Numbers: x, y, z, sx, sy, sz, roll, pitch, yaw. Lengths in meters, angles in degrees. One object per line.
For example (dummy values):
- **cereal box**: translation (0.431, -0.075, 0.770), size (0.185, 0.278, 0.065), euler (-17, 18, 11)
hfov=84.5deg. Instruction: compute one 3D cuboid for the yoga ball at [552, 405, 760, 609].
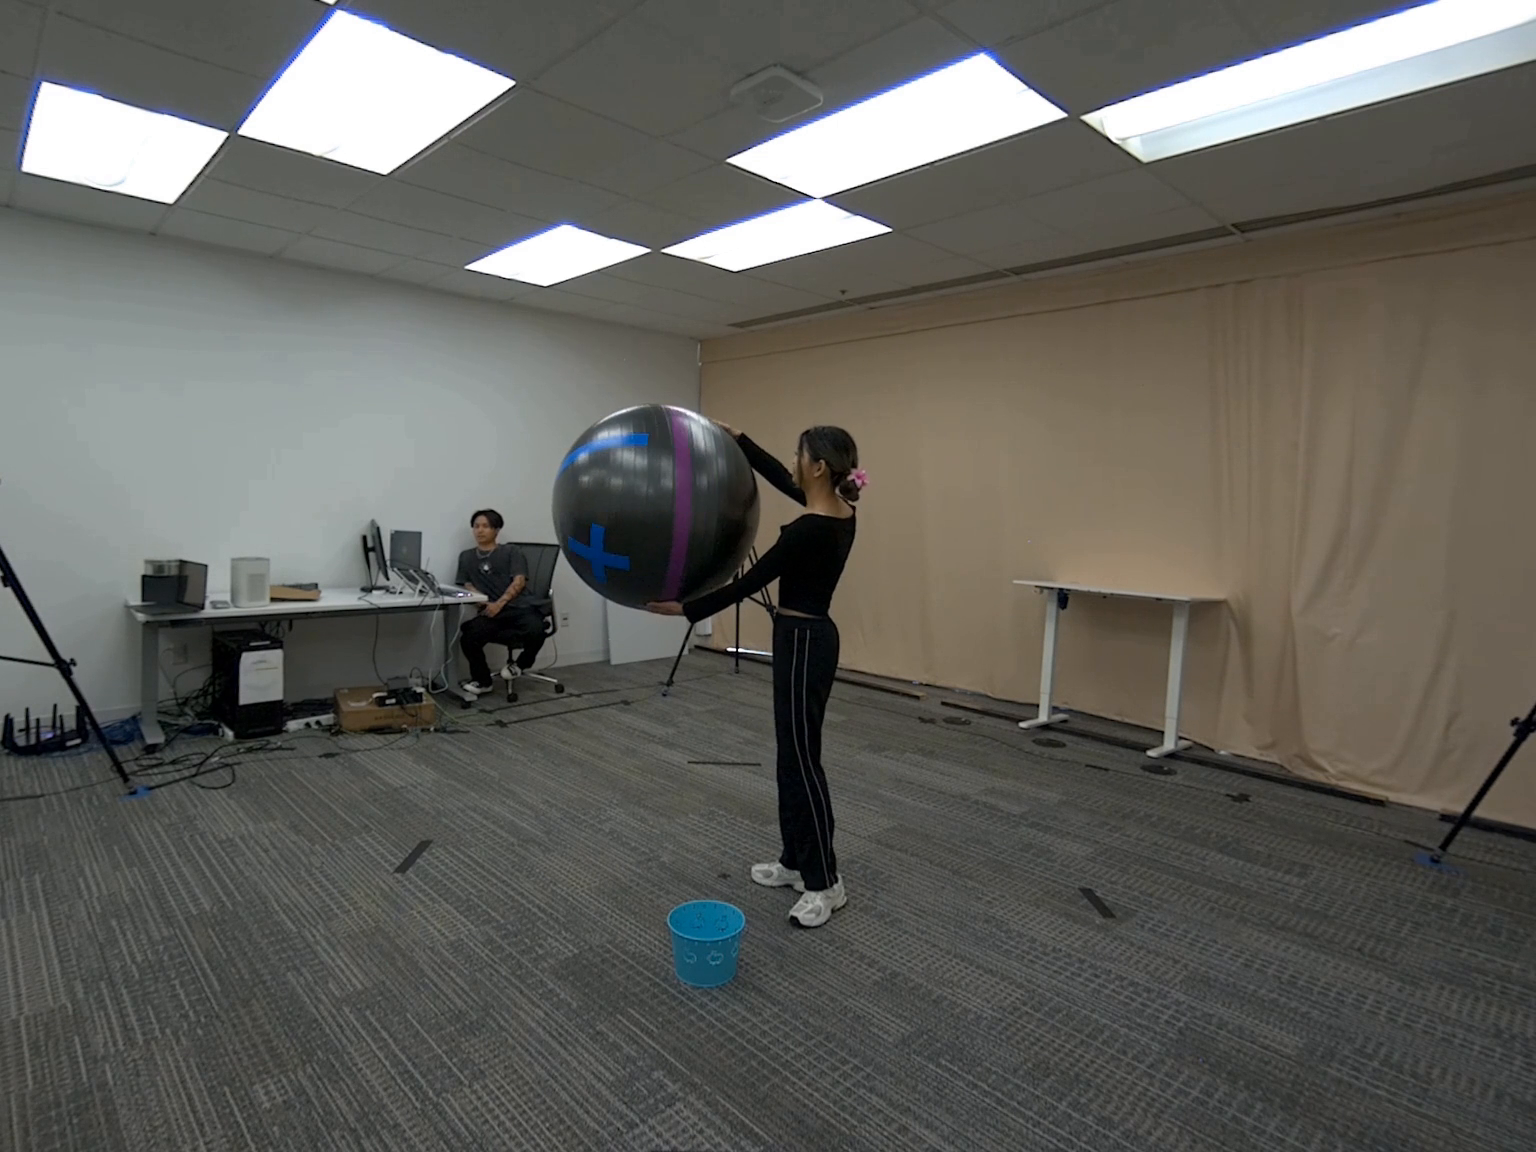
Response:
- **yoga ball**: translation (-0.423, -0.242, 3.105), size (0.757, 0.756, 0.761), euler (1, 4, -1)
